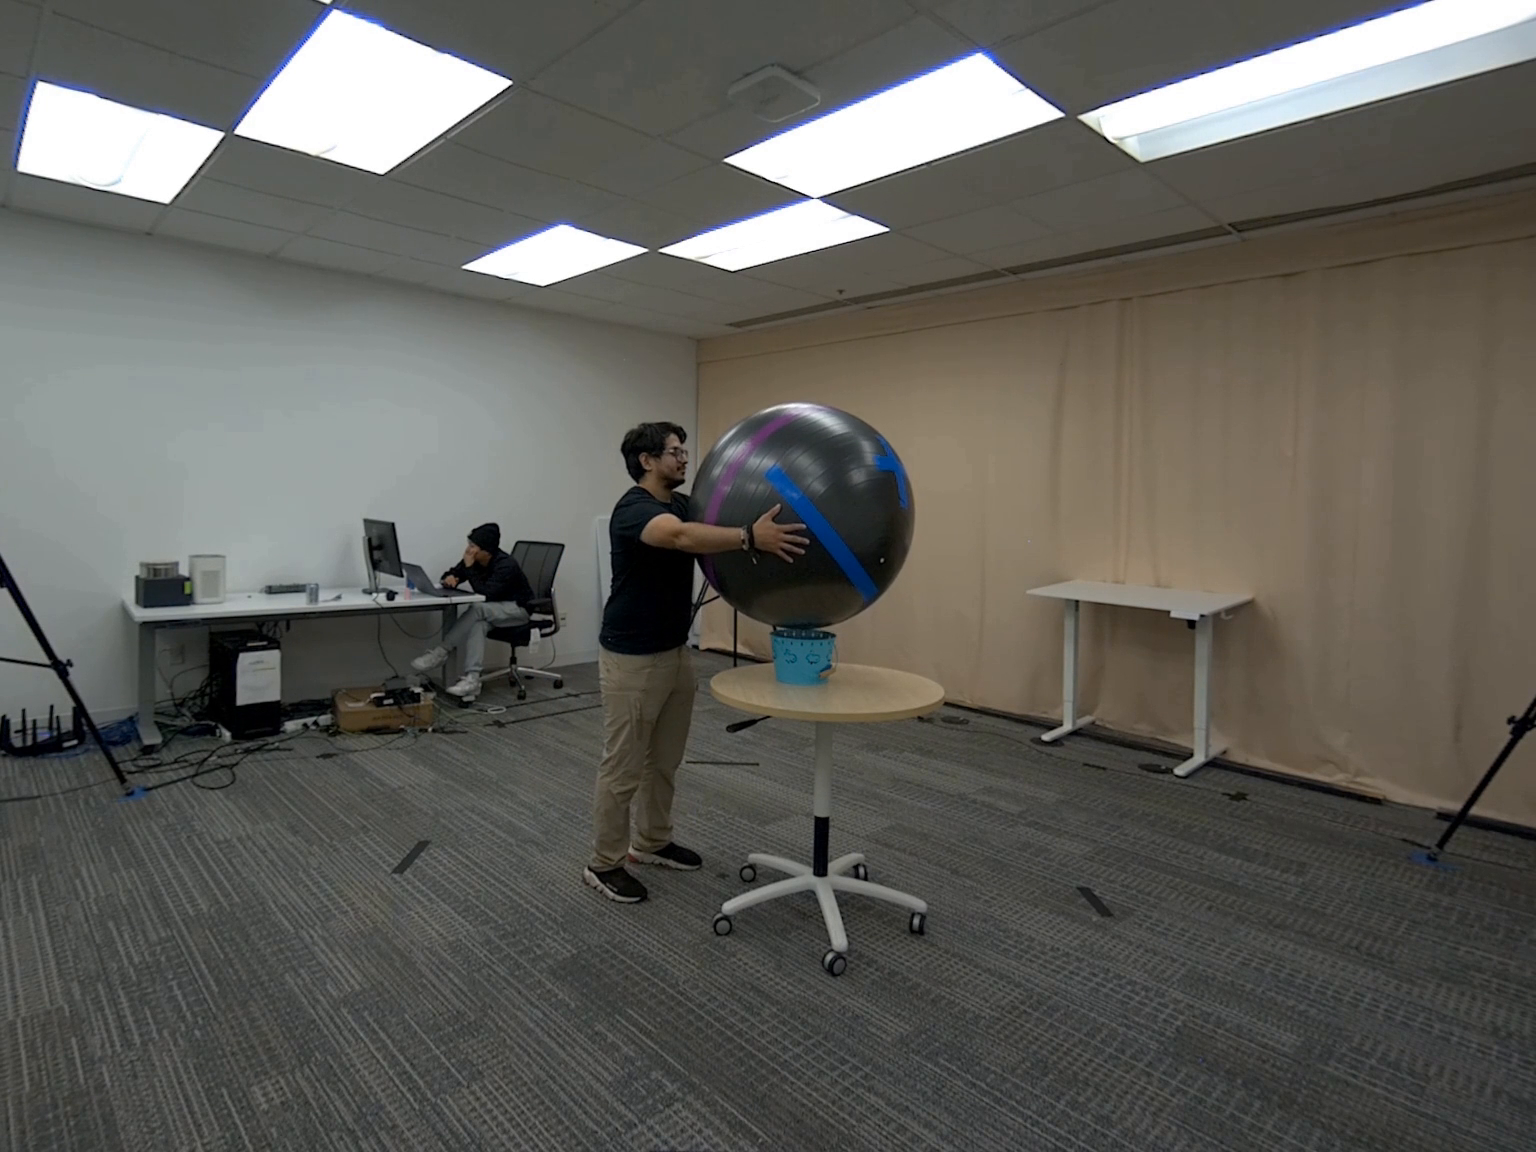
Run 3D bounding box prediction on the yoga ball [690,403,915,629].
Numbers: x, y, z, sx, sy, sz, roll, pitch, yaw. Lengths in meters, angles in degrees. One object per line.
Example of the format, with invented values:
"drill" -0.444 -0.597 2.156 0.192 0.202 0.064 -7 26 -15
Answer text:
"yoga ball" 0.108 -0.196 2.839 0.757 0.756 0.761 1 4 -1
